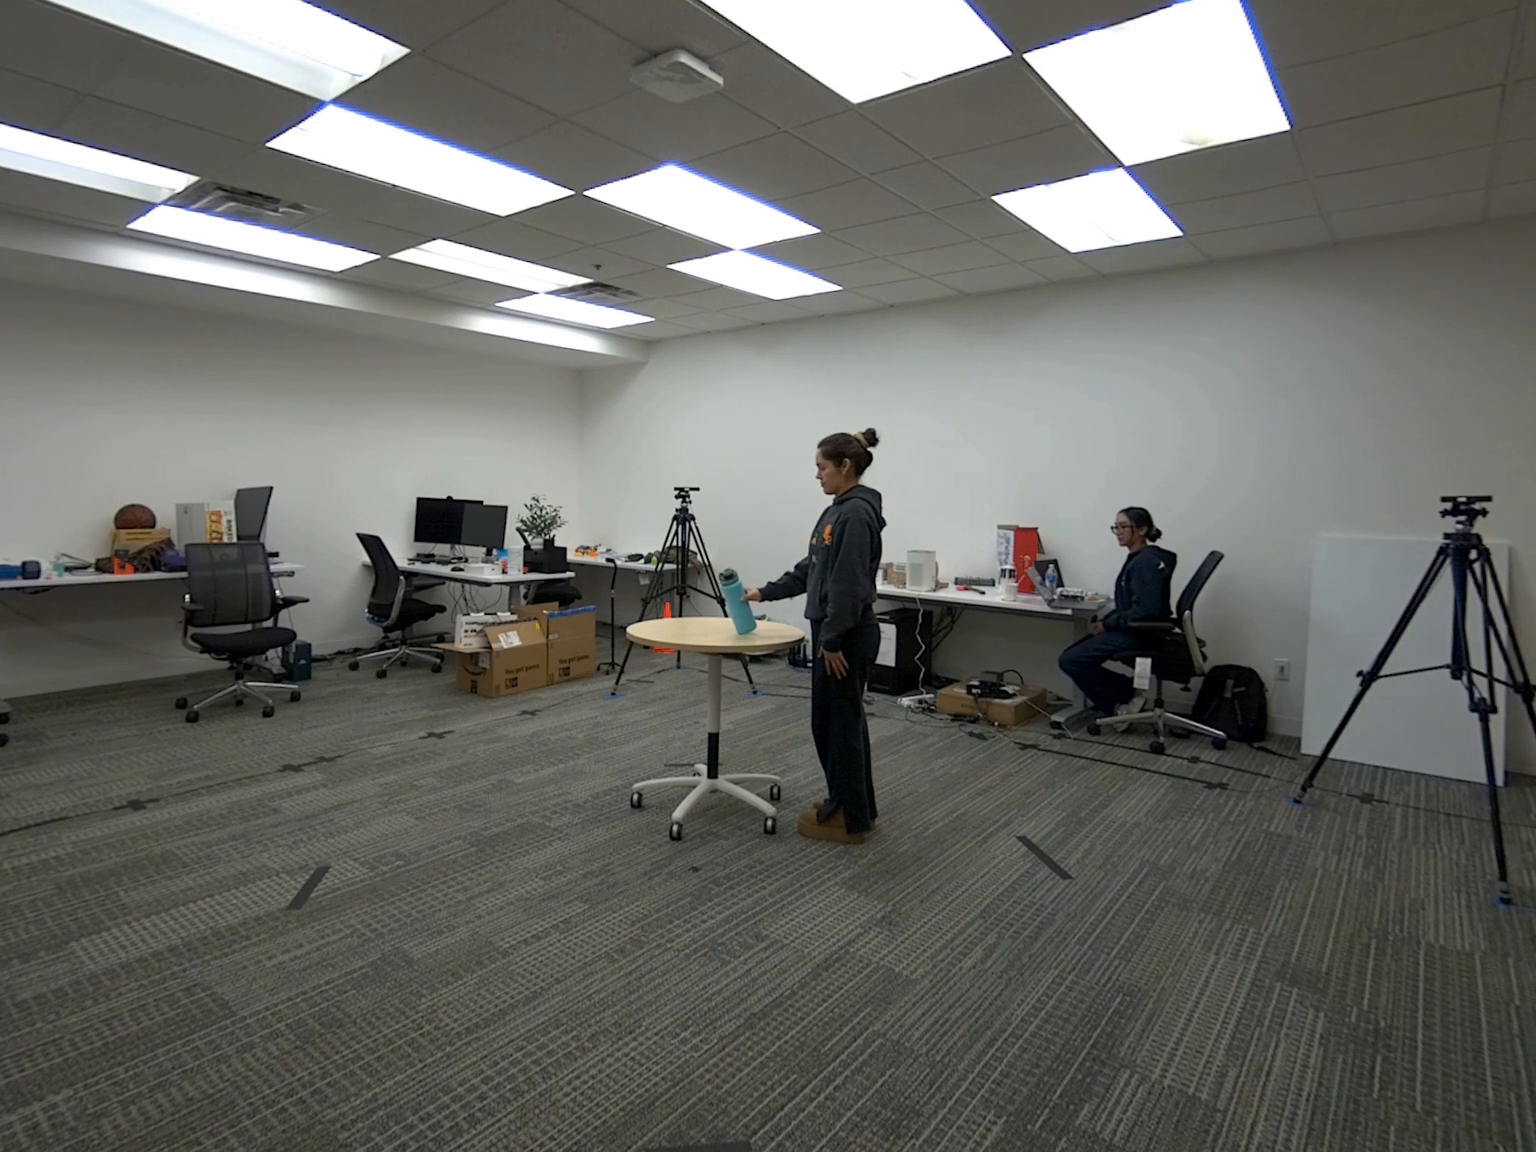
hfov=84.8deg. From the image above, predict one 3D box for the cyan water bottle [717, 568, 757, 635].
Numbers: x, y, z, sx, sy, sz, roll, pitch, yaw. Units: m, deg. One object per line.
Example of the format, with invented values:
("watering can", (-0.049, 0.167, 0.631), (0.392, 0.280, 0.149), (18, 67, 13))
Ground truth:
("cyan water bottle", (-0.131, 0.100, 3.558), (0.092, 0.278, 0.094), (-18, 15, 4))
